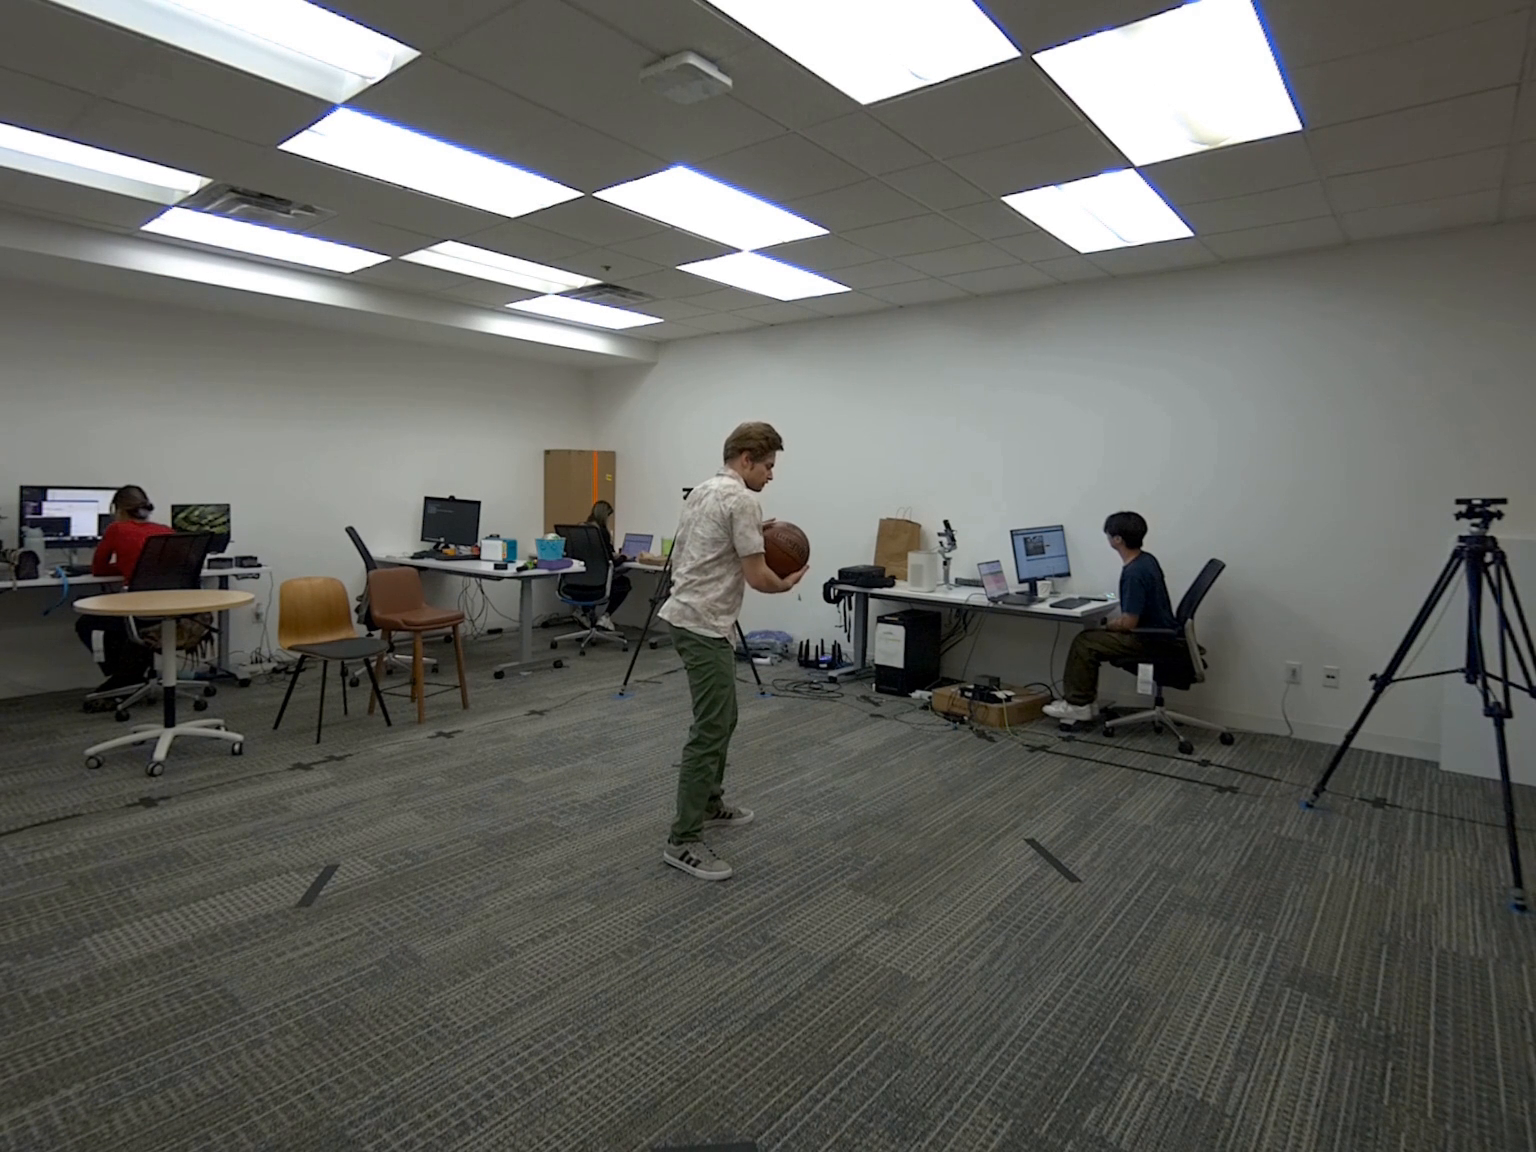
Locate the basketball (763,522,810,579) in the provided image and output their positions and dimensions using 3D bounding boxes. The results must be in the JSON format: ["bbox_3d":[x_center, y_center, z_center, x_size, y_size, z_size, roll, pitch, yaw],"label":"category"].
[{"bbox_3d":[0.048,-0.090,3.560,0.236,0.235,0.237,1,4,-2],"label":"basketball"}]
